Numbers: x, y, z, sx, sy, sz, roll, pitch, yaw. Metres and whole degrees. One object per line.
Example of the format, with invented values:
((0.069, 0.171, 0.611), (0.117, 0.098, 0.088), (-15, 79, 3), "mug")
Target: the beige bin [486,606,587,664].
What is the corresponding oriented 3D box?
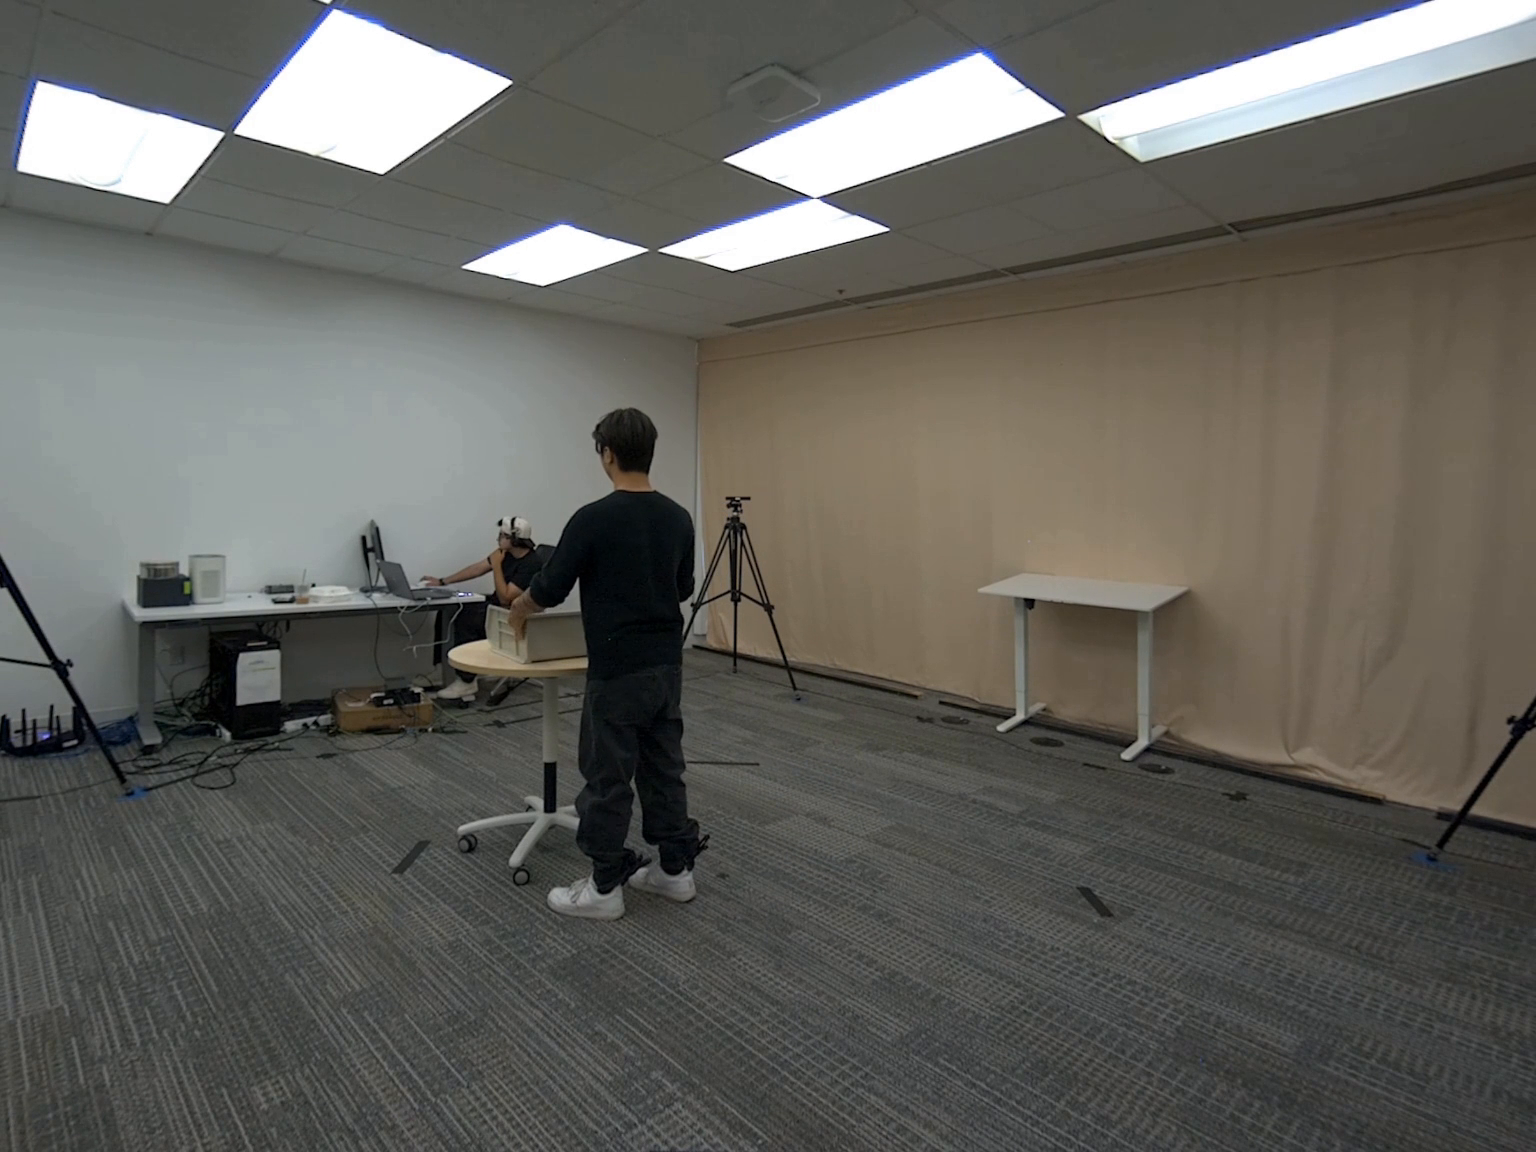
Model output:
((-0.828, 0.202, 3.267), (0.413, 0.188, 0.387), (-3, 9, -38), "beige bin")
